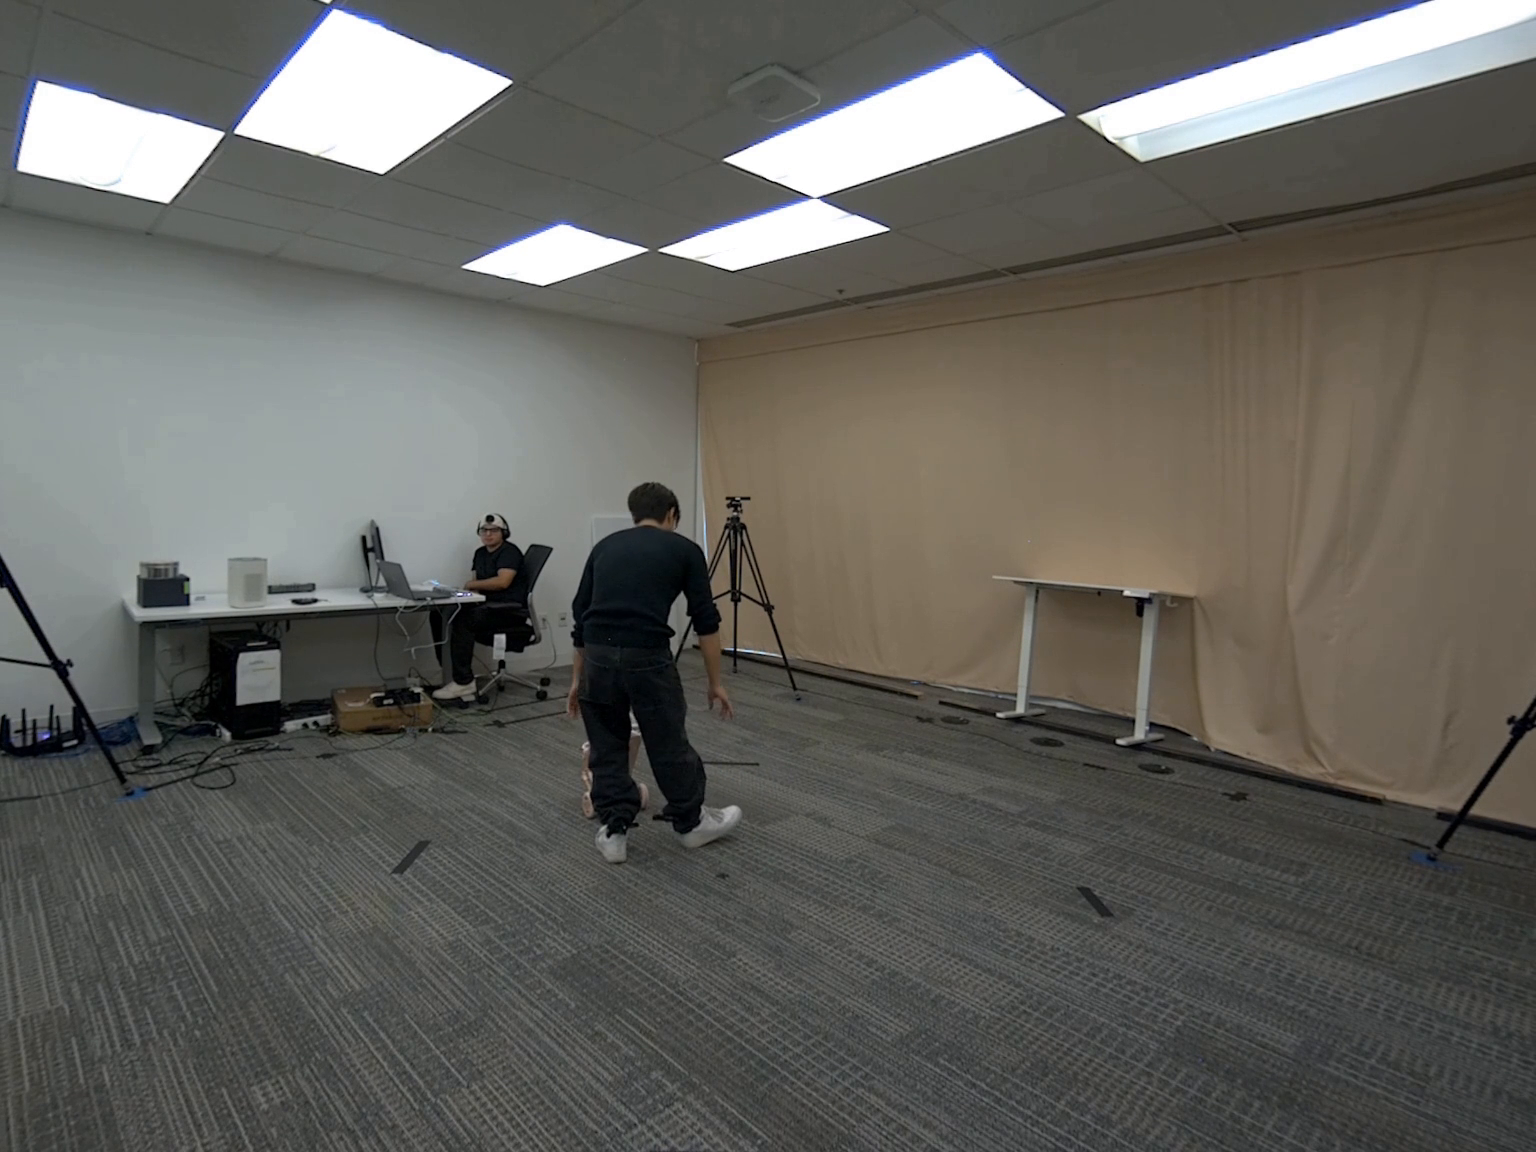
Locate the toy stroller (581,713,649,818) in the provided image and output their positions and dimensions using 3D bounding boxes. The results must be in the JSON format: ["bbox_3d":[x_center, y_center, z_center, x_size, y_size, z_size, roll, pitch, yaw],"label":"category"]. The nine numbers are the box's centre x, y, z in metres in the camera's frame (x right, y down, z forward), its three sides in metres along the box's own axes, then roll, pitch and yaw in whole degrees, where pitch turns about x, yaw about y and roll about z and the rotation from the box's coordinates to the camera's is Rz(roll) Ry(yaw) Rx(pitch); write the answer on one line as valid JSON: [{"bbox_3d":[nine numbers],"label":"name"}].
[{"bbox_3d":[-0.704,0.817,3.752,0.276,0.529,0.351,0,20,-27],"label":"toy stroller"}]
